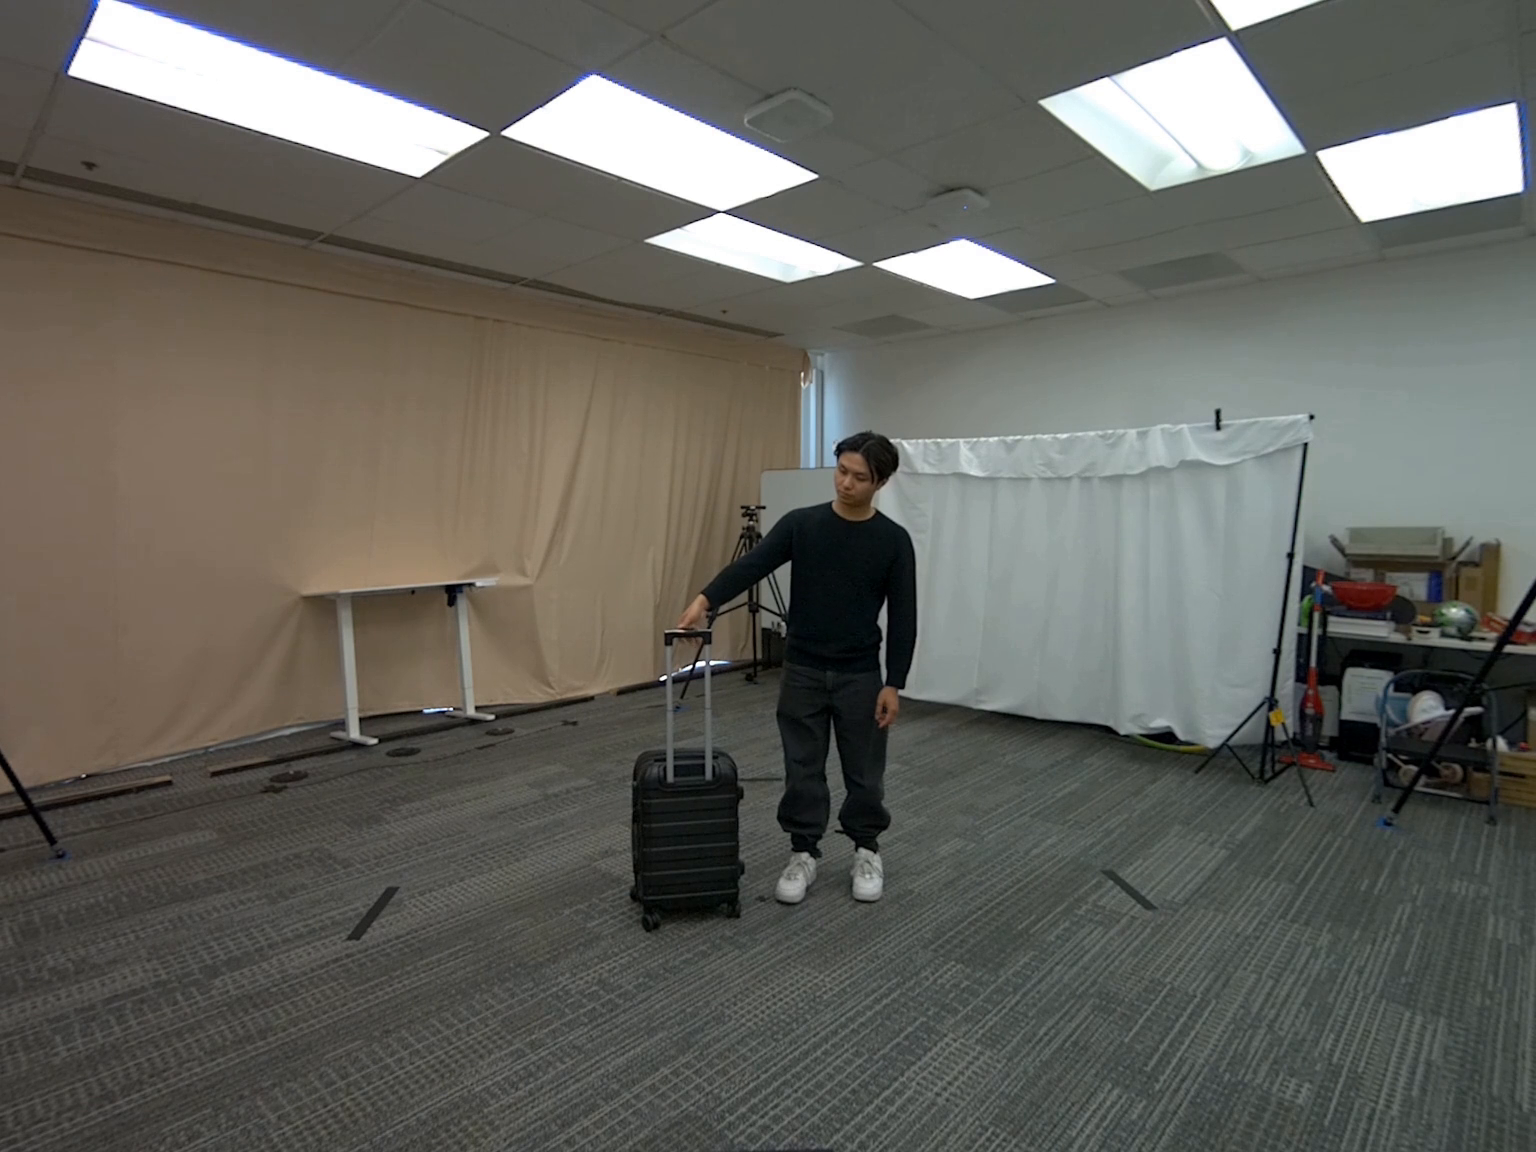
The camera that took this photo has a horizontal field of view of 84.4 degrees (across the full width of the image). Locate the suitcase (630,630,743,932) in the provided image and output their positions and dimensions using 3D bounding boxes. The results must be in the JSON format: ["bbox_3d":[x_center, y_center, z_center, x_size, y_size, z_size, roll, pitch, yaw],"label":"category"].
[{"bbox_3d":[-0.285,0.674,2.897,0.380,0.978,0.259,0,0,-9],"label":"suitcase"}]
